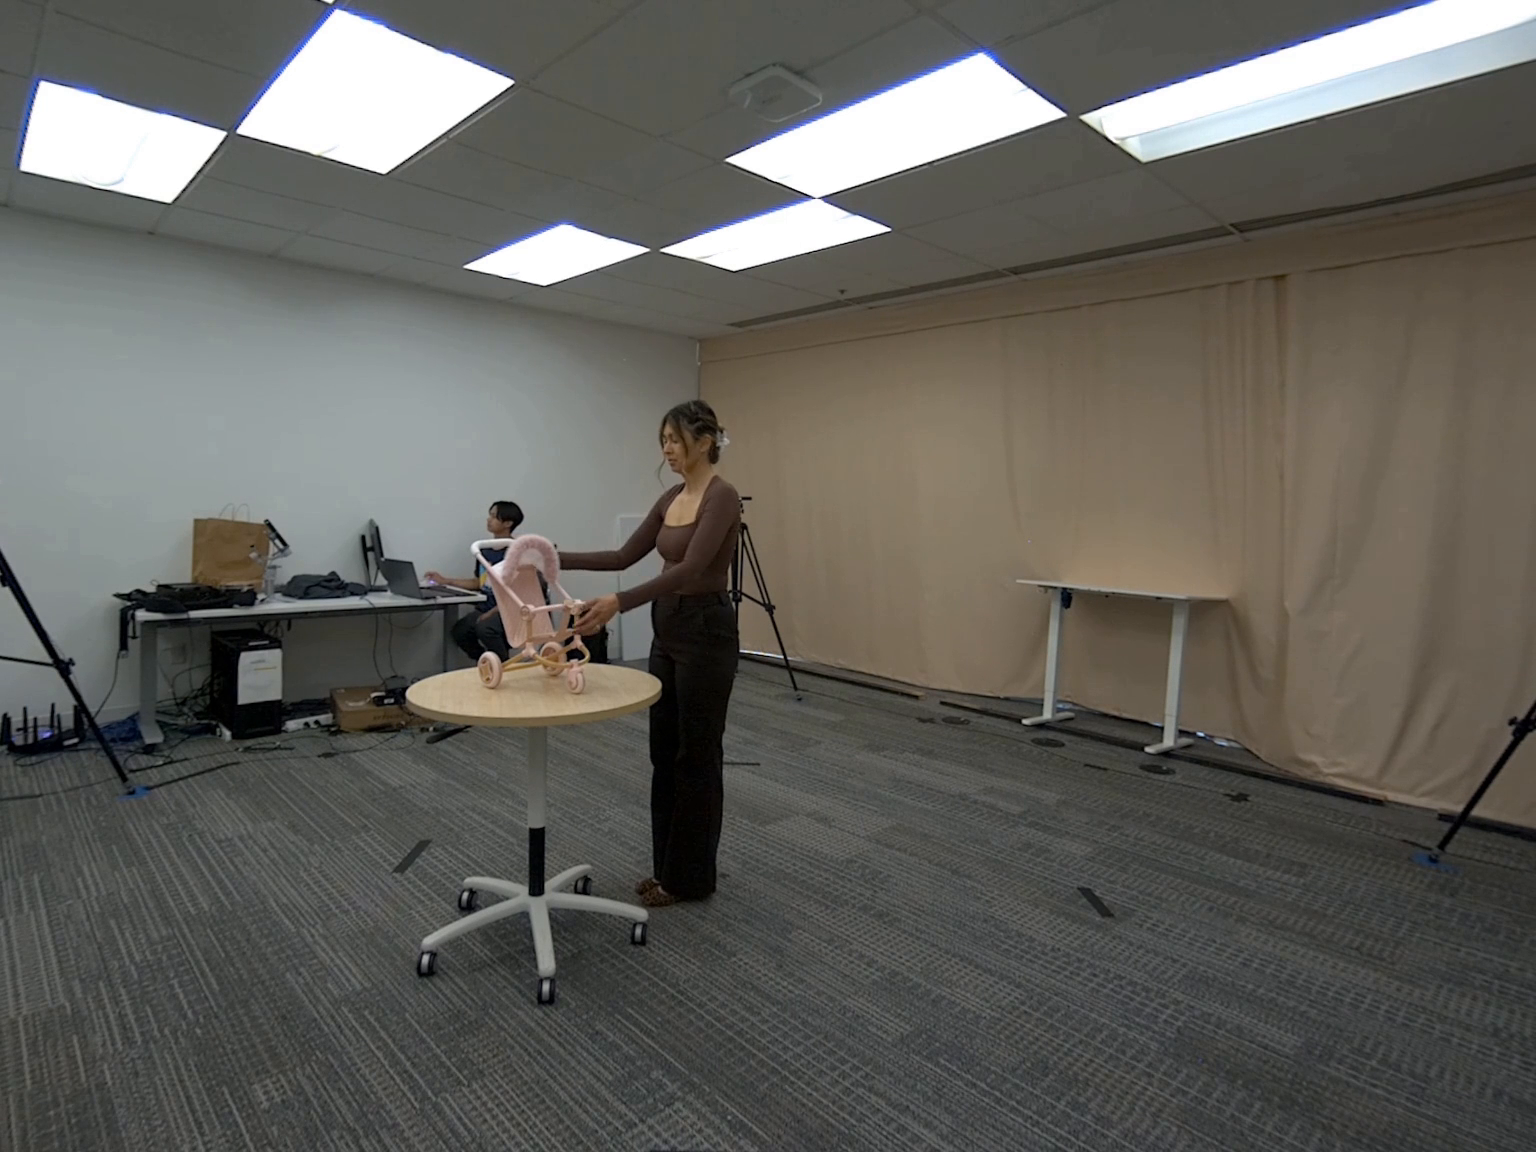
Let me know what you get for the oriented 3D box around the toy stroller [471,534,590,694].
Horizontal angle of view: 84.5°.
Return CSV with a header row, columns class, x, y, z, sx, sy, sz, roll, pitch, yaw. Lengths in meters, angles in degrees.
class,x,y,z,sx,sy,sz,roll,pitch,yaw
toy stroller,-0.721,0.116,2.604,0.347,0.538,0.275,-15,-8,41
